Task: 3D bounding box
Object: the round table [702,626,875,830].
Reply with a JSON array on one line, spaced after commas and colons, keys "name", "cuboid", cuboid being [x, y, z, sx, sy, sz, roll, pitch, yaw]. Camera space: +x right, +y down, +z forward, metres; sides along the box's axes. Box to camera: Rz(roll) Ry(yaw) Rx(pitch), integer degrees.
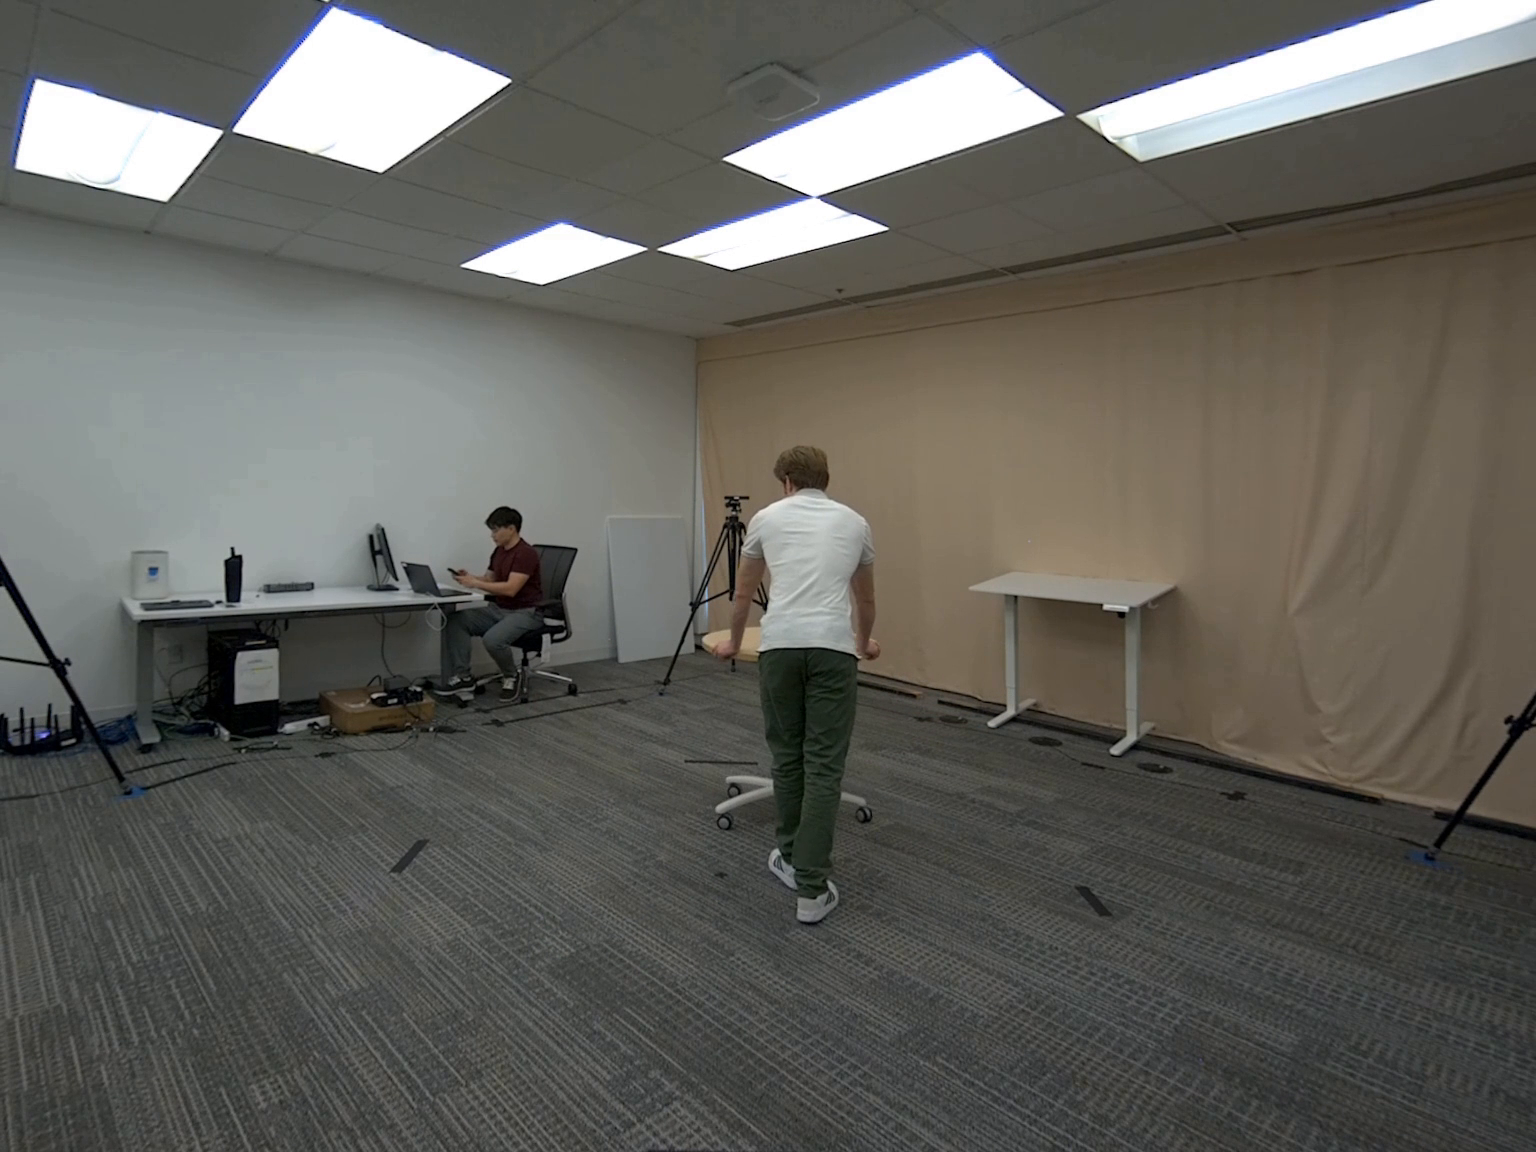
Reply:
[{"name": "round table", "cuboid": [0.086, 0.674, 3.702, 0.763, 0.792, 0.767, 2, 4, -1]}]
